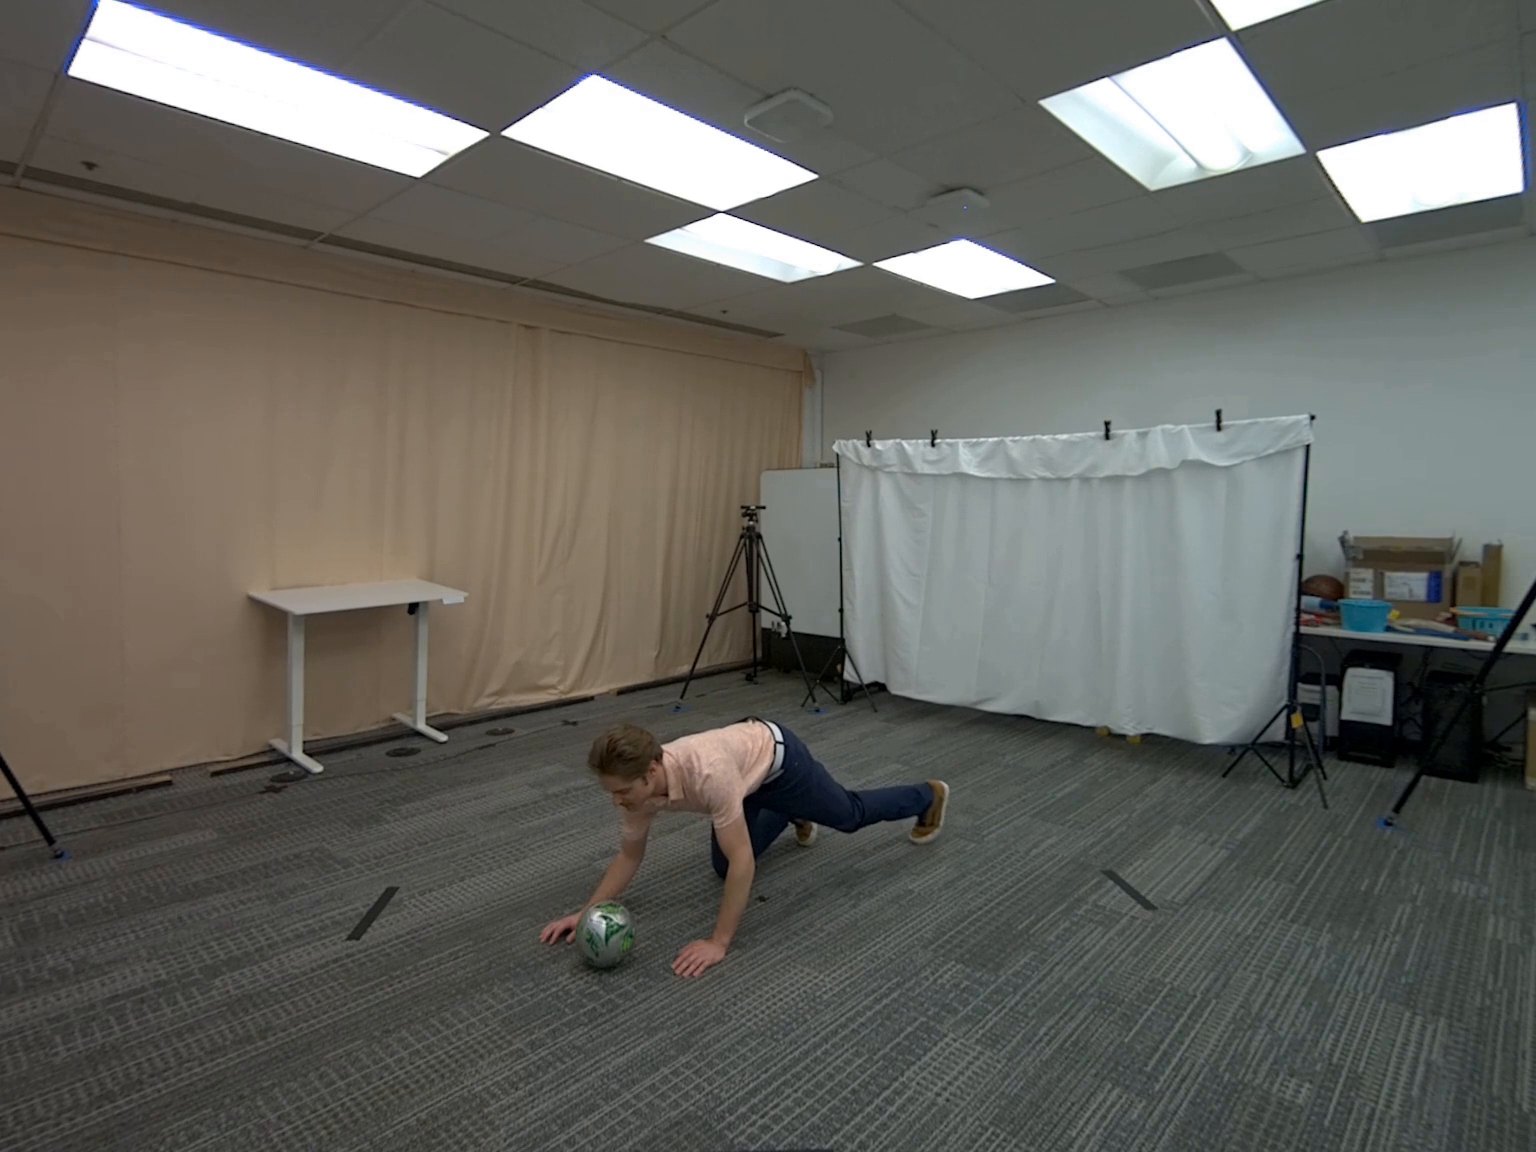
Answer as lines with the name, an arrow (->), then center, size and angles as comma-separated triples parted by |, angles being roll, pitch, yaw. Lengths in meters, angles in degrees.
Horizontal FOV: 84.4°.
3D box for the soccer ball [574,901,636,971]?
soccer ball -> -0.491, 1.086, 2.559 | 0.187, 0.187, 0.188 | 0, 4, -2
